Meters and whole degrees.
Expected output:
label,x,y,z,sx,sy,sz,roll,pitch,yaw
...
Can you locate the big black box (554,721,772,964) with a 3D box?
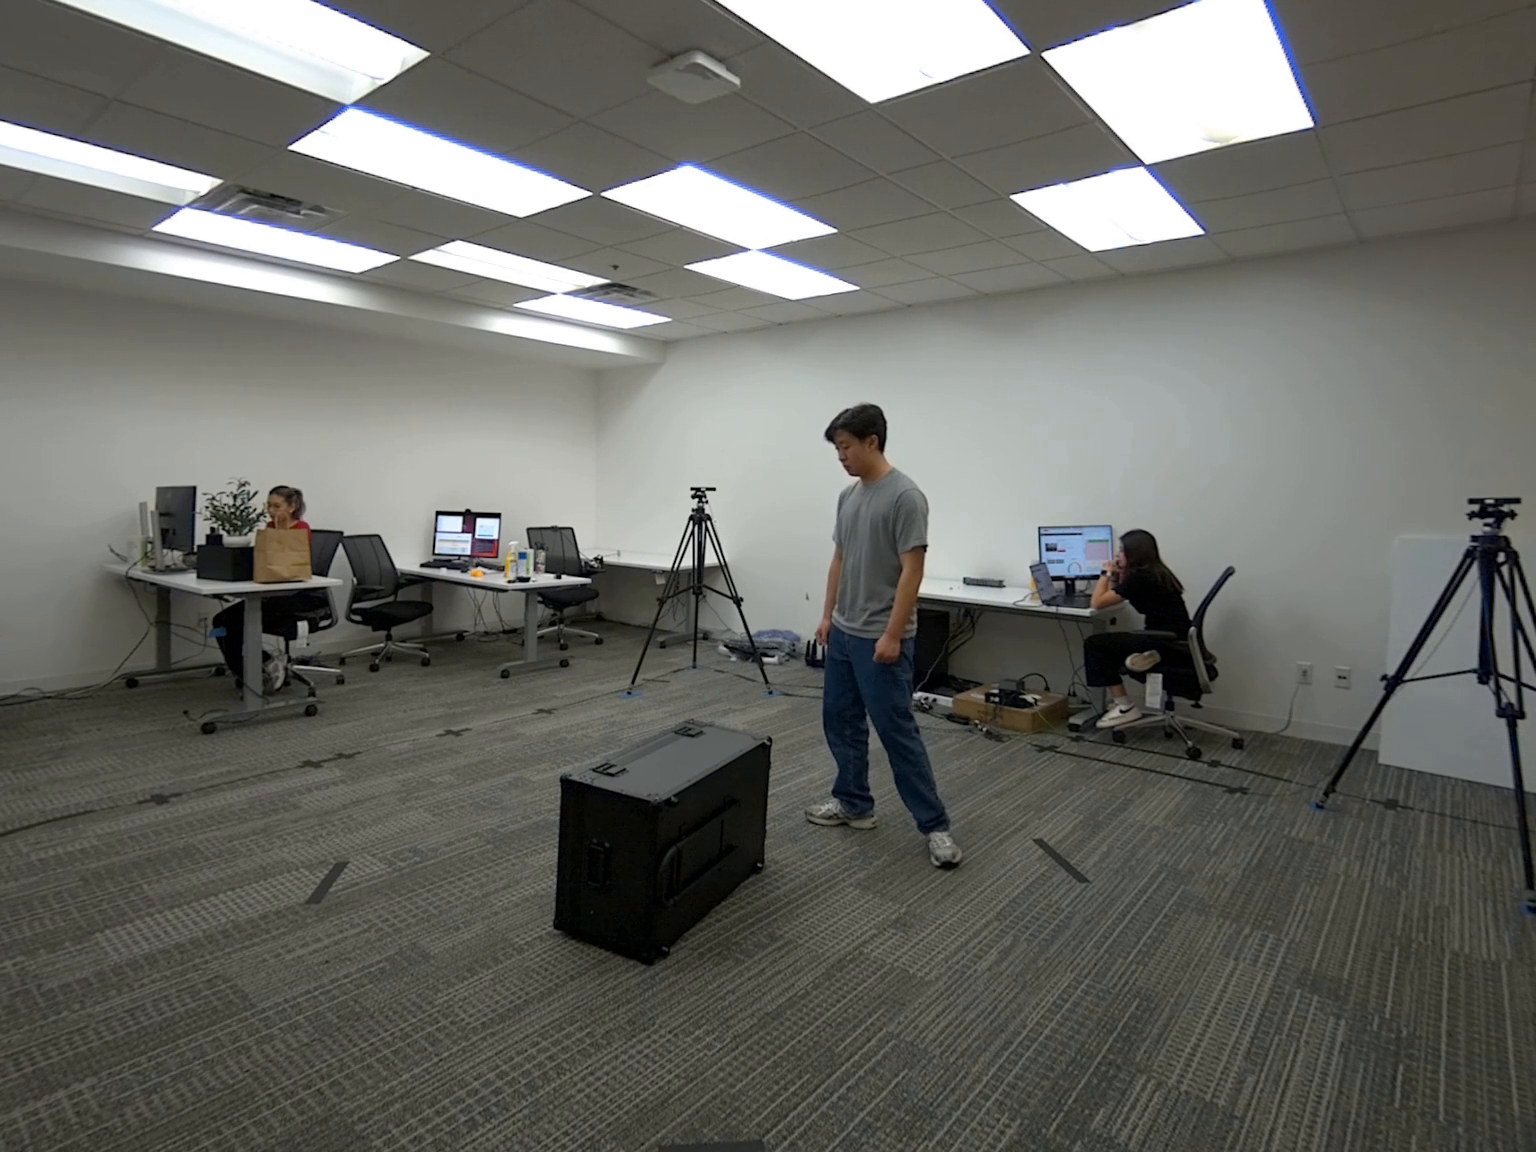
label,x,y,z,sx,sy,sz,roll,pitch,yaw
big black box,-0.307,0.827,2.887,0.407,0.519,0.842,6,7,25
